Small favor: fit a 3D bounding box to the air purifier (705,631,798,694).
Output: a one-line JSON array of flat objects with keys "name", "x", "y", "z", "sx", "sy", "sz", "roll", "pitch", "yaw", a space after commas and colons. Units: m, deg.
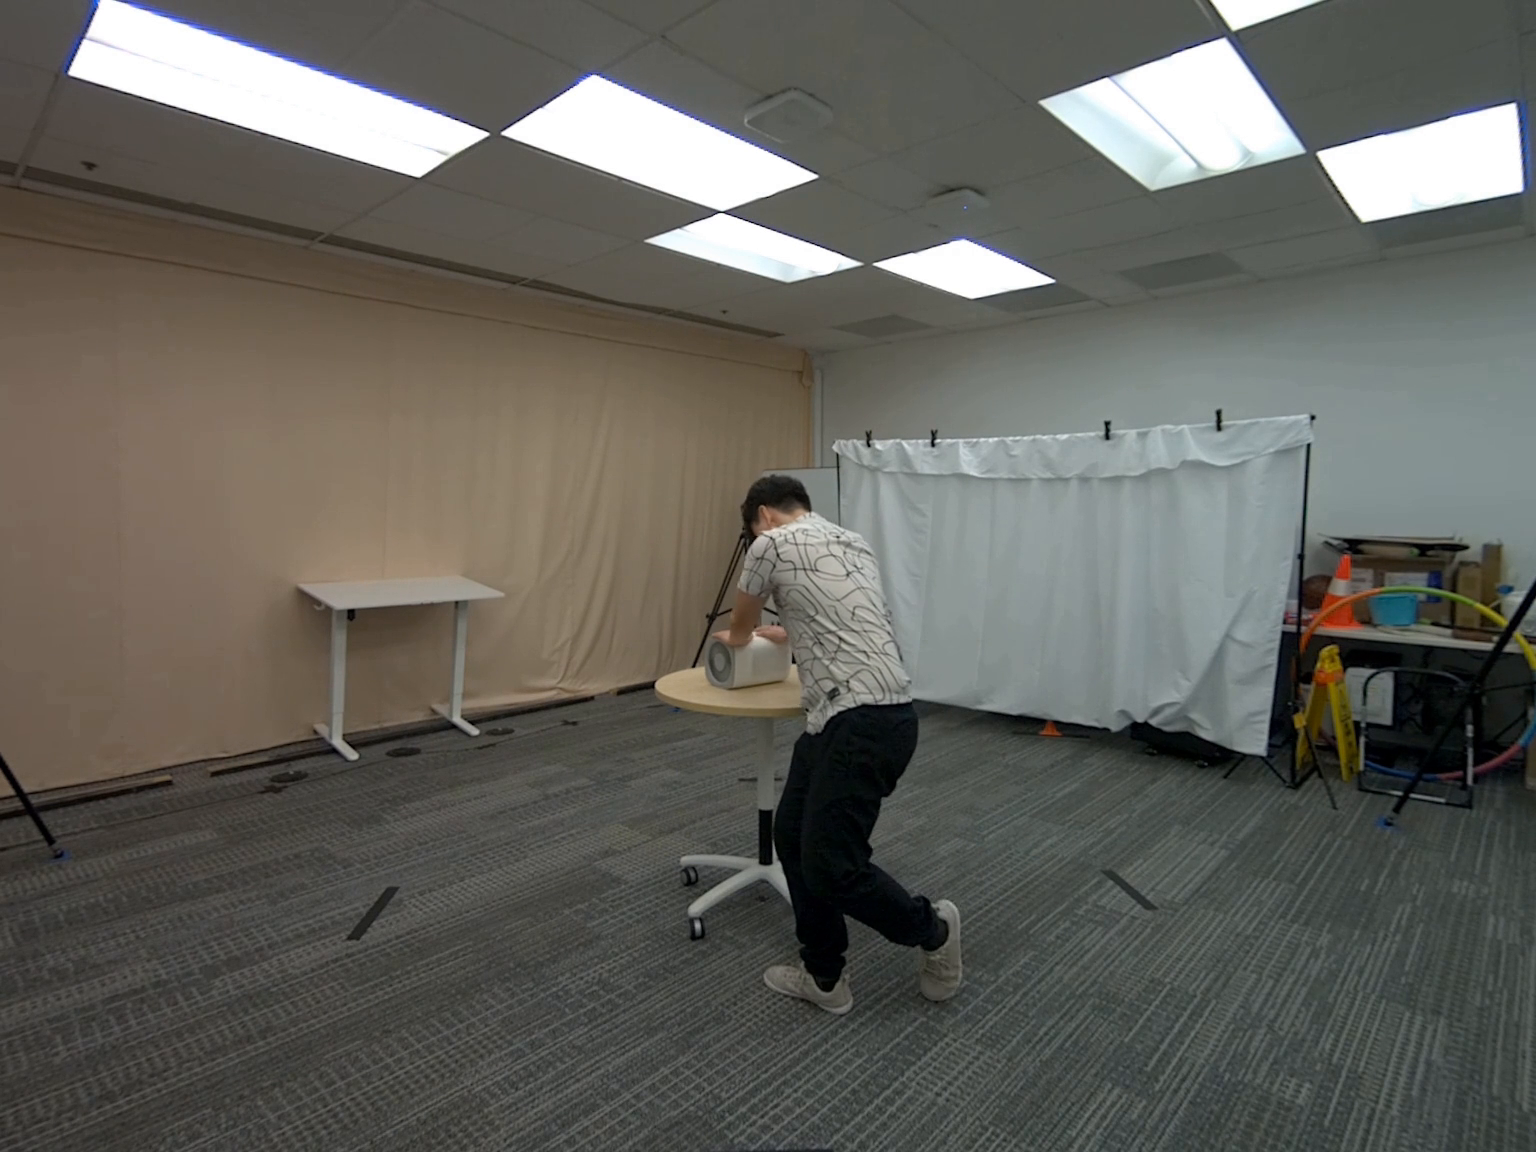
[{"name": "air purifier", "x": -0.057, "y": 0.284, "z": 2.920, "sx": 0.257, "sy": 0.171, "sz": 0.177, "roll": -3, "pitch": 7, "yaw": -37}]
